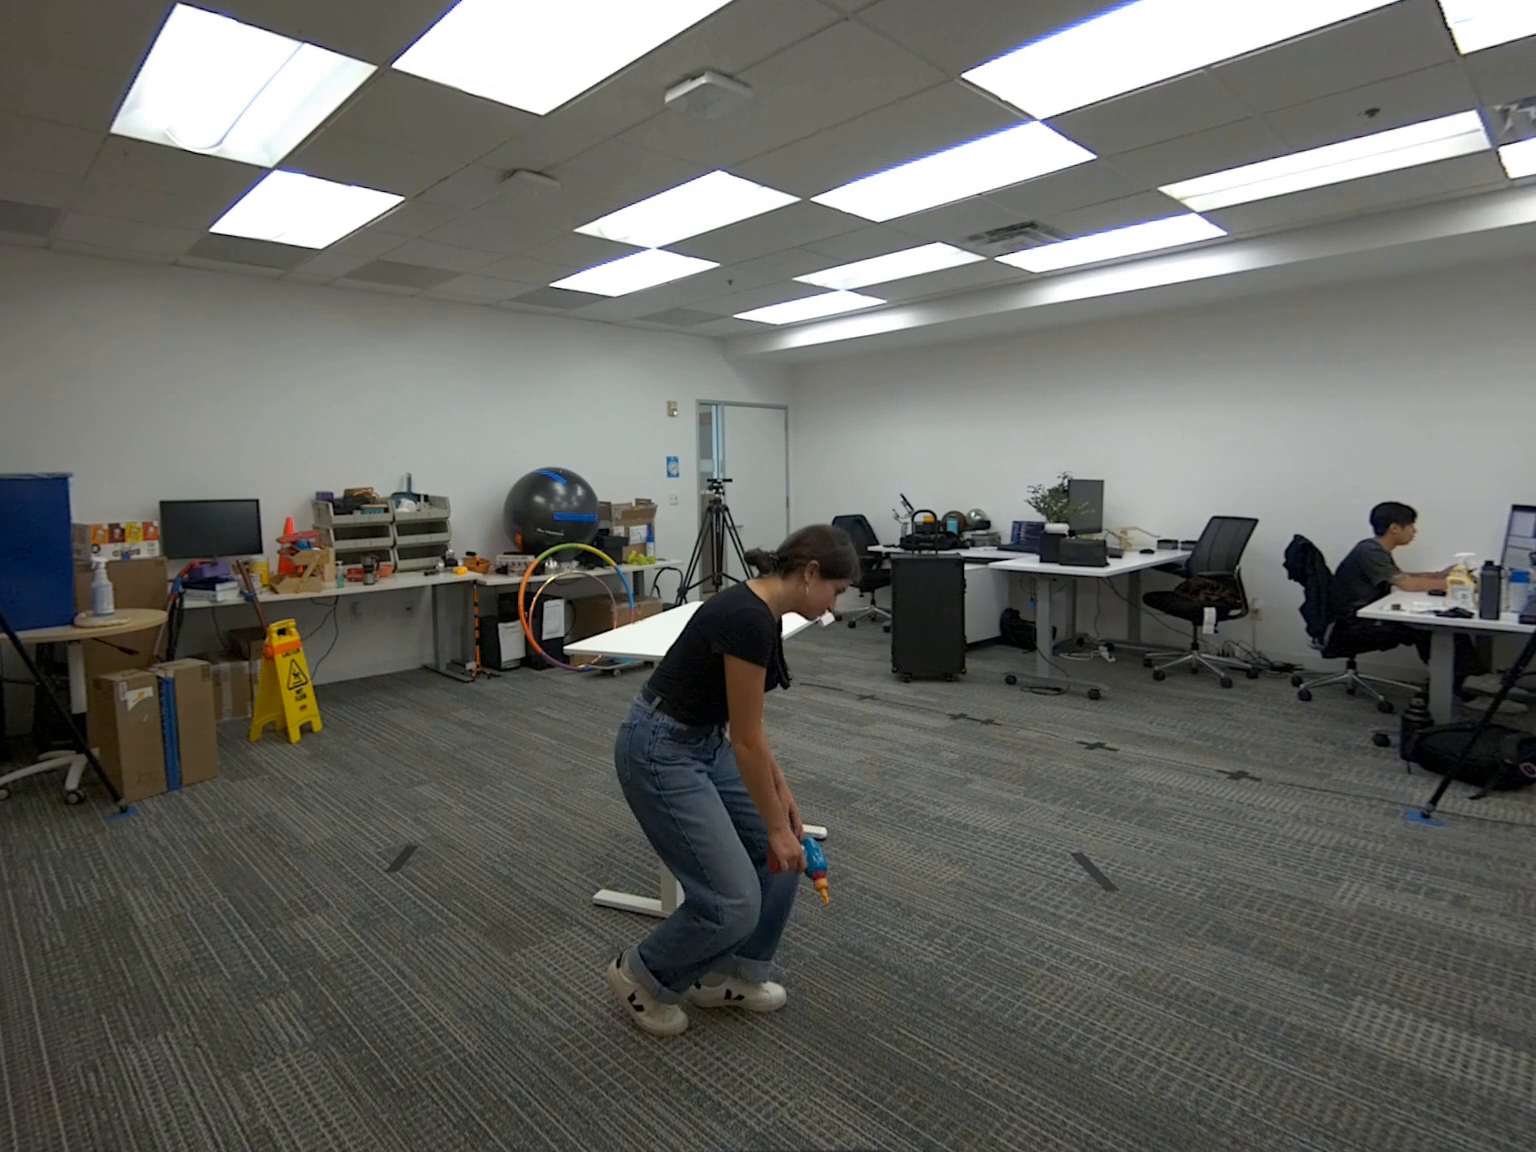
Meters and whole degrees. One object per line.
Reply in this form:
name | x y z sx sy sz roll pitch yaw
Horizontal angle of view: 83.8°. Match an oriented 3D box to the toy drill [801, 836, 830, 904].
toy drill | 0.074 0.716 2.089 0.143 0.060 0.175 6 46 -19
